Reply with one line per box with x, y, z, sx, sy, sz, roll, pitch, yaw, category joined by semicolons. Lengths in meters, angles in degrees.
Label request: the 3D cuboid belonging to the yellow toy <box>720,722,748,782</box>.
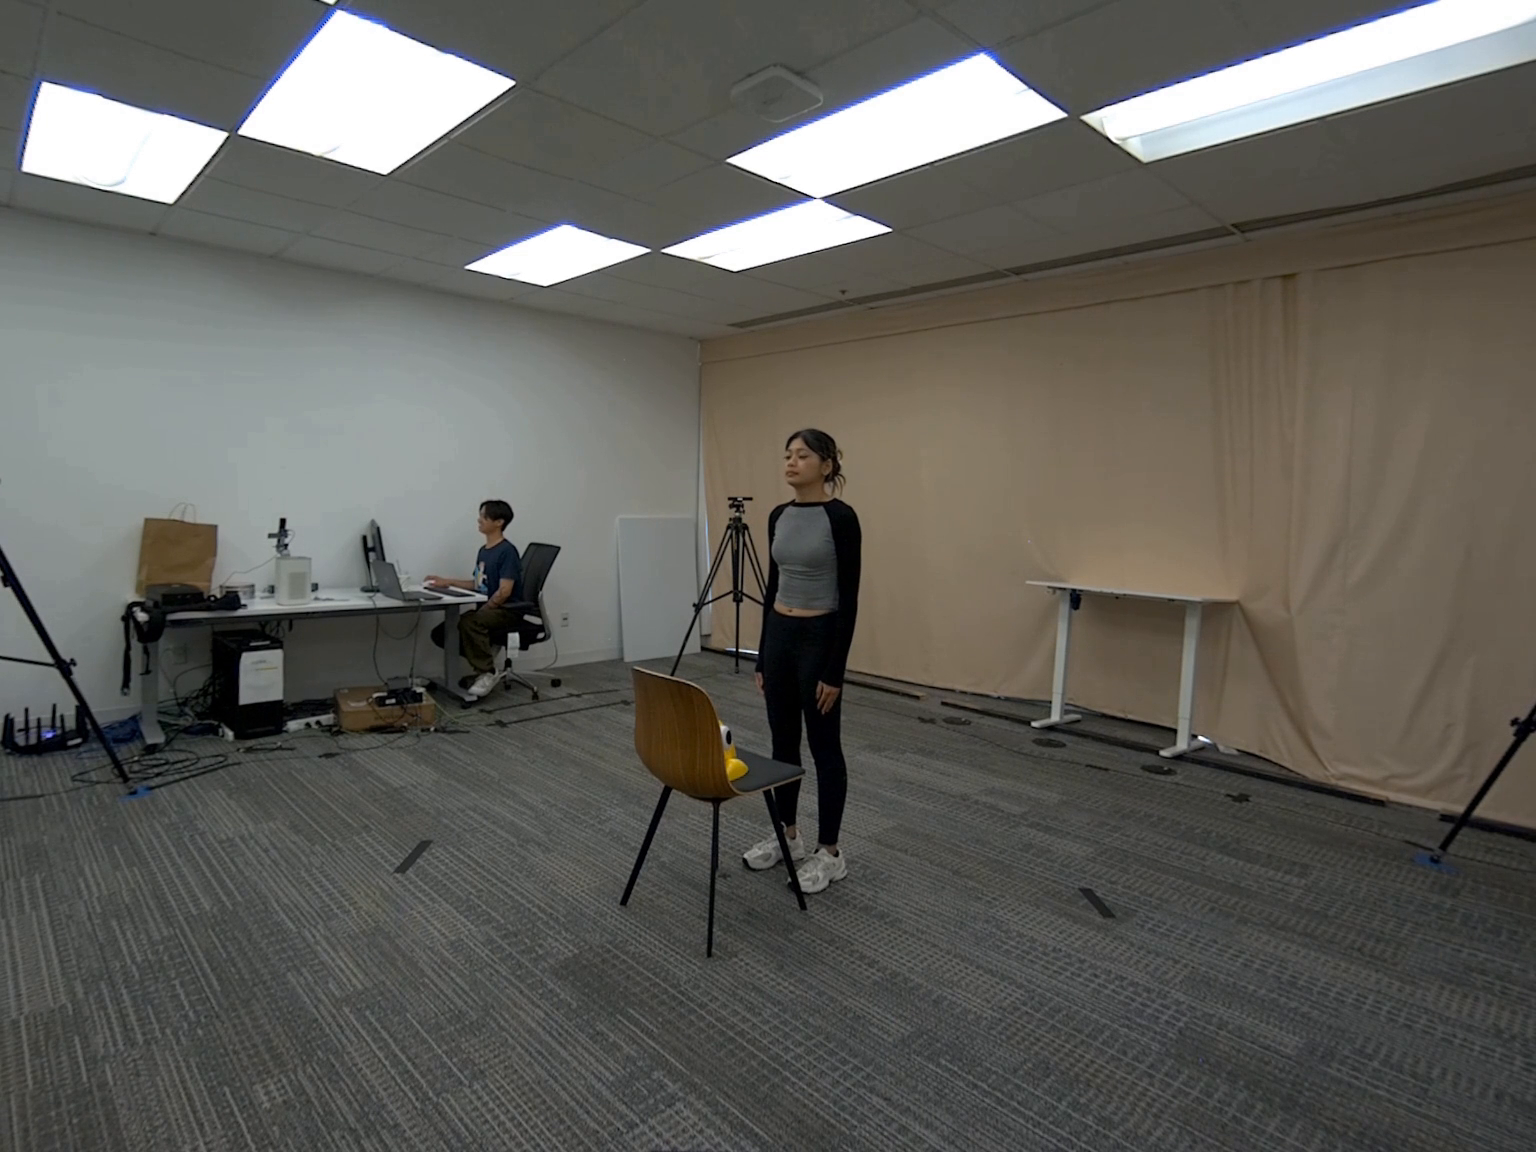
-0.180;0.549;2.802;0.189;0.229;0.210;-8;8;-41;yellow toy
